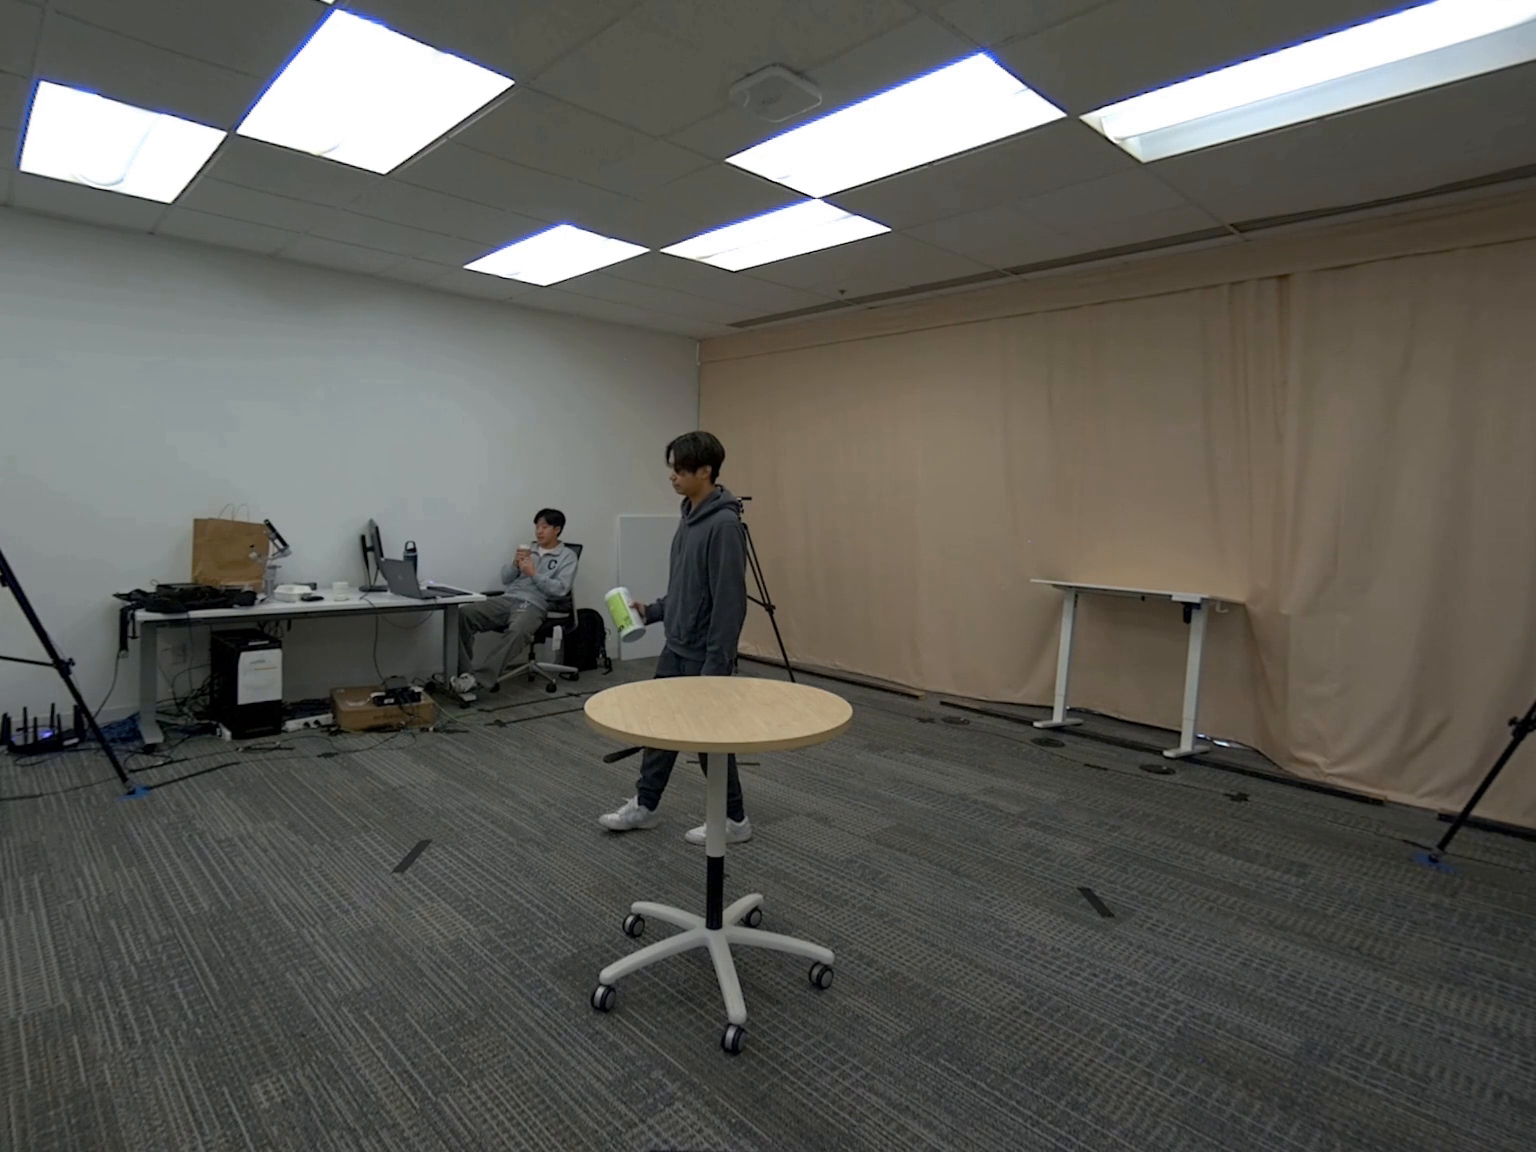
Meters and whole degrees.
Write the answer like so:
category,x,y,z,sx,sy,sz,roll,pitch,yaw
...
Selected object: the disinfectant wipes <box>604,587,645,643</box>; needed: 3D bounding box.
category,x,y,z,sx,sy,sz,roll,pitch,yaw
disinfectant wipes,-0.603,0.160,3.525,0.117,0.223,0.115,-22,-26,-12
